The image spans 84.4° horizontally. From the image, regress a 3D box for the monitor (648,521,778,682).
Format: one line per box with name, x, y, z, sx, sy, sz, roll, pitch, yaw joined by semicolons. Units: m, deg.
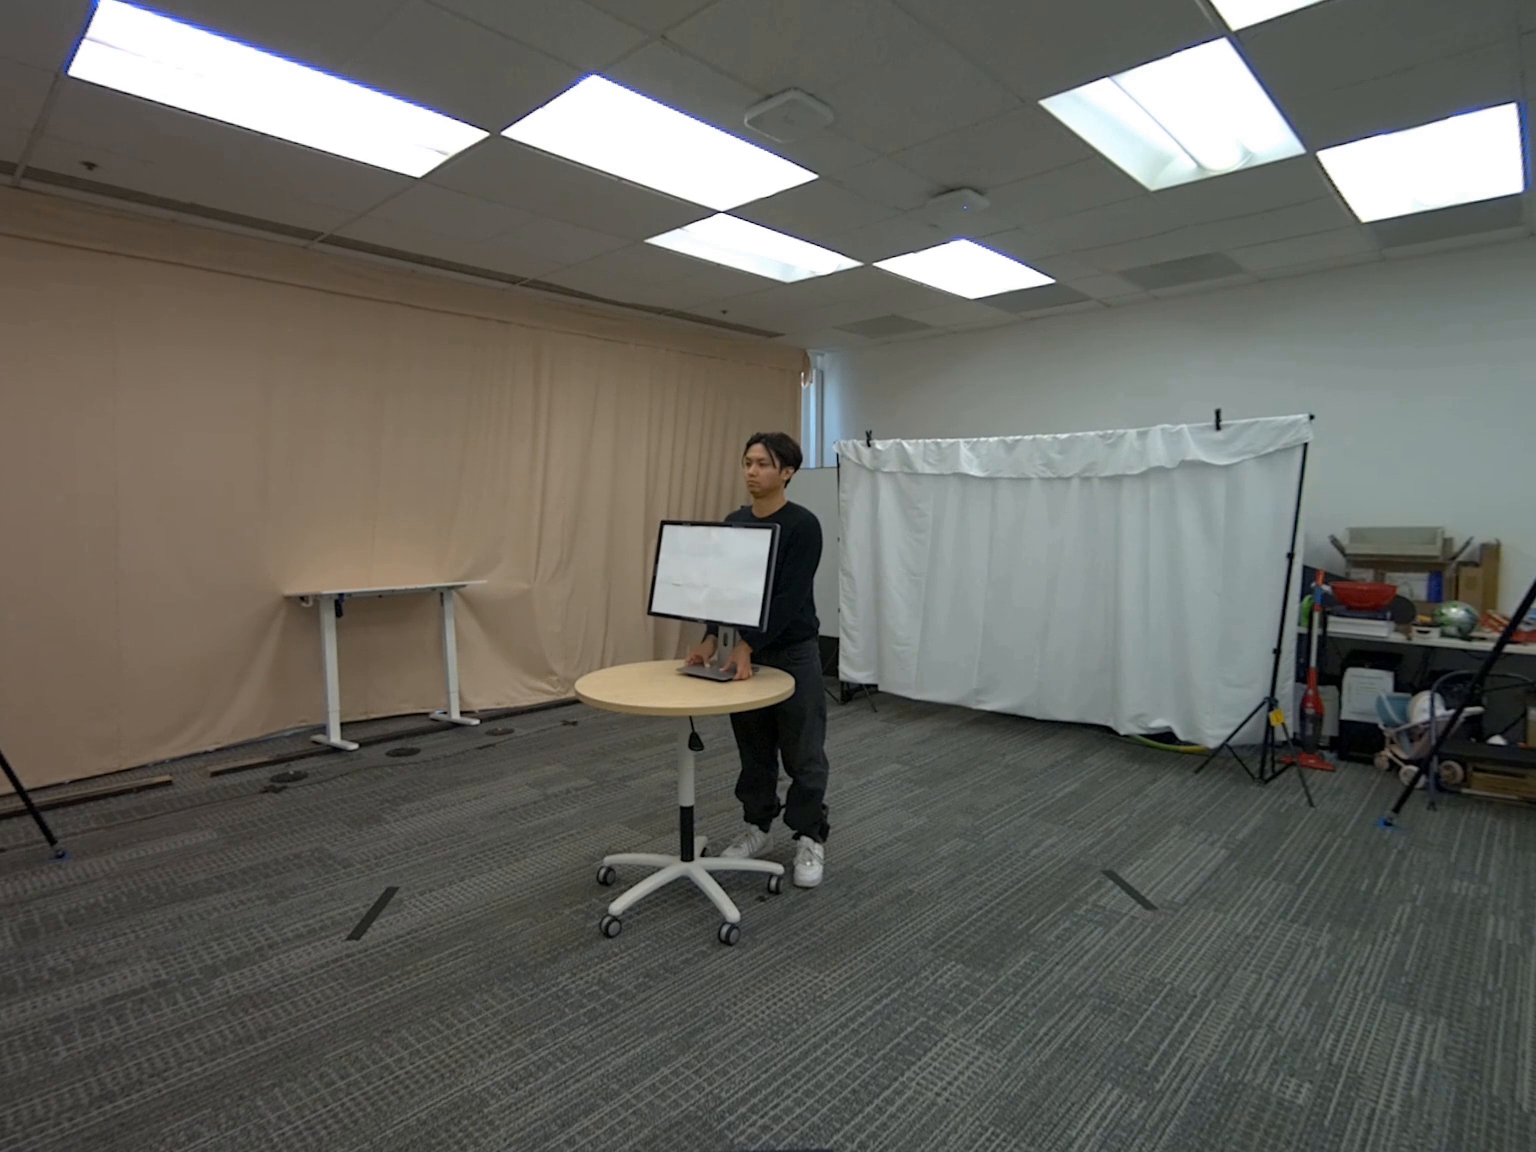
monitor;-0.183;0.077;3.028;0.557;0.521;0.181;4;6;40
